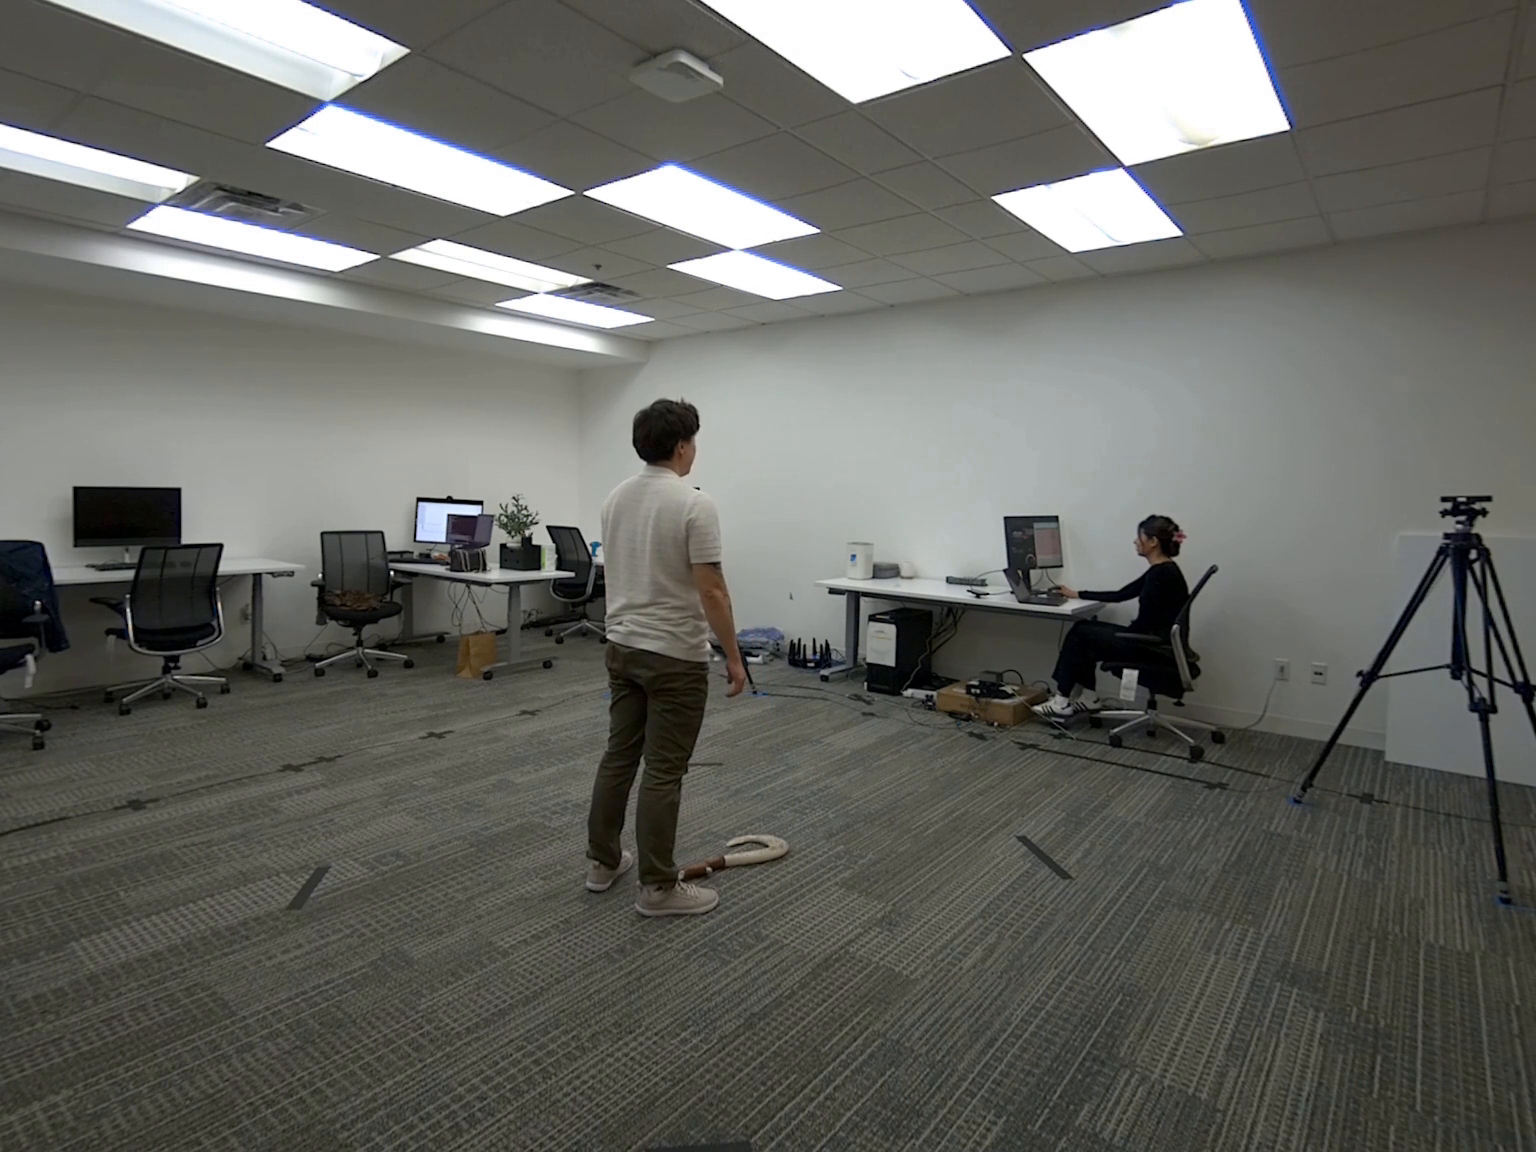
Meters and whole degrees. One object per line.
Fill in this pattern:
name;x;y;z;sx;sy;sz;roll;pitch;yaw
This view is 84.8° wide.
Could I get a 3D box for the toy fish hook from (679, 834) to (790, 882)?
toy fish hook;-0.160;1.045;3.185;0.492;0.048;0.231;-3;-1;-36
